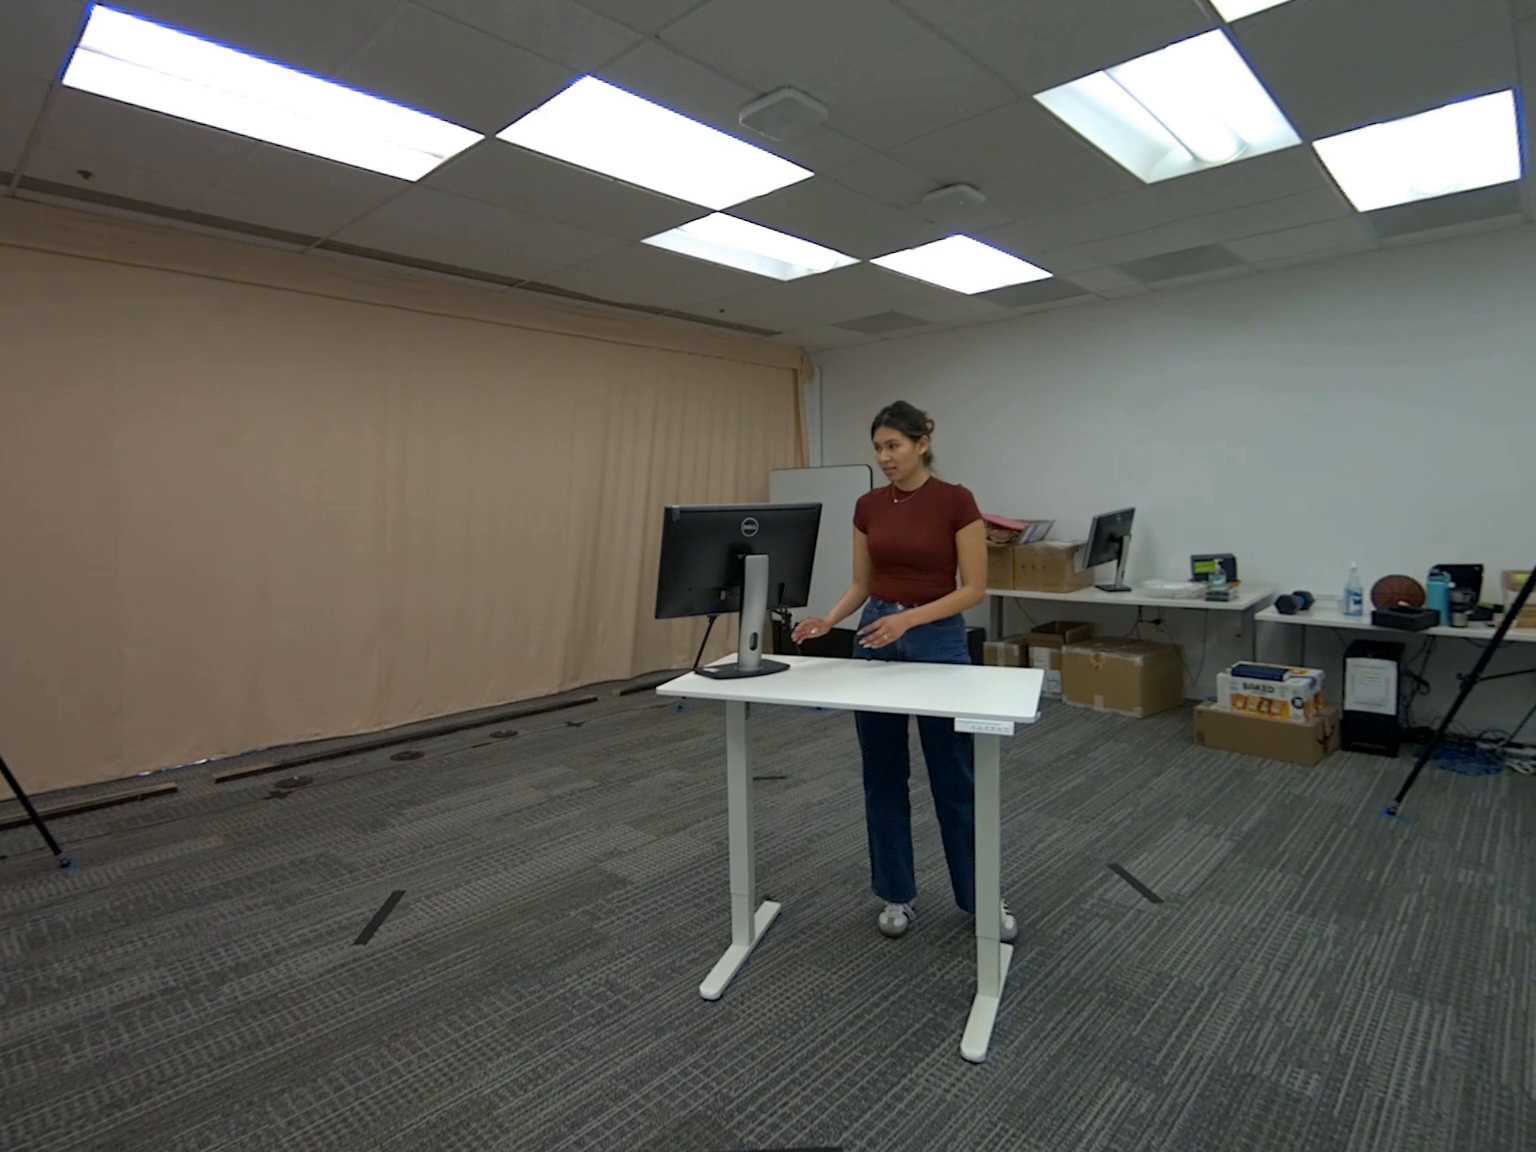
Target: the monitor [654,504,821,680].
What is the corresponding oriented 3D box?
[{"bbox_3d":[-0.066,0.043,2.571,0.525,0.520,0.193,-3,7,-28],"label":"monitor"}]
